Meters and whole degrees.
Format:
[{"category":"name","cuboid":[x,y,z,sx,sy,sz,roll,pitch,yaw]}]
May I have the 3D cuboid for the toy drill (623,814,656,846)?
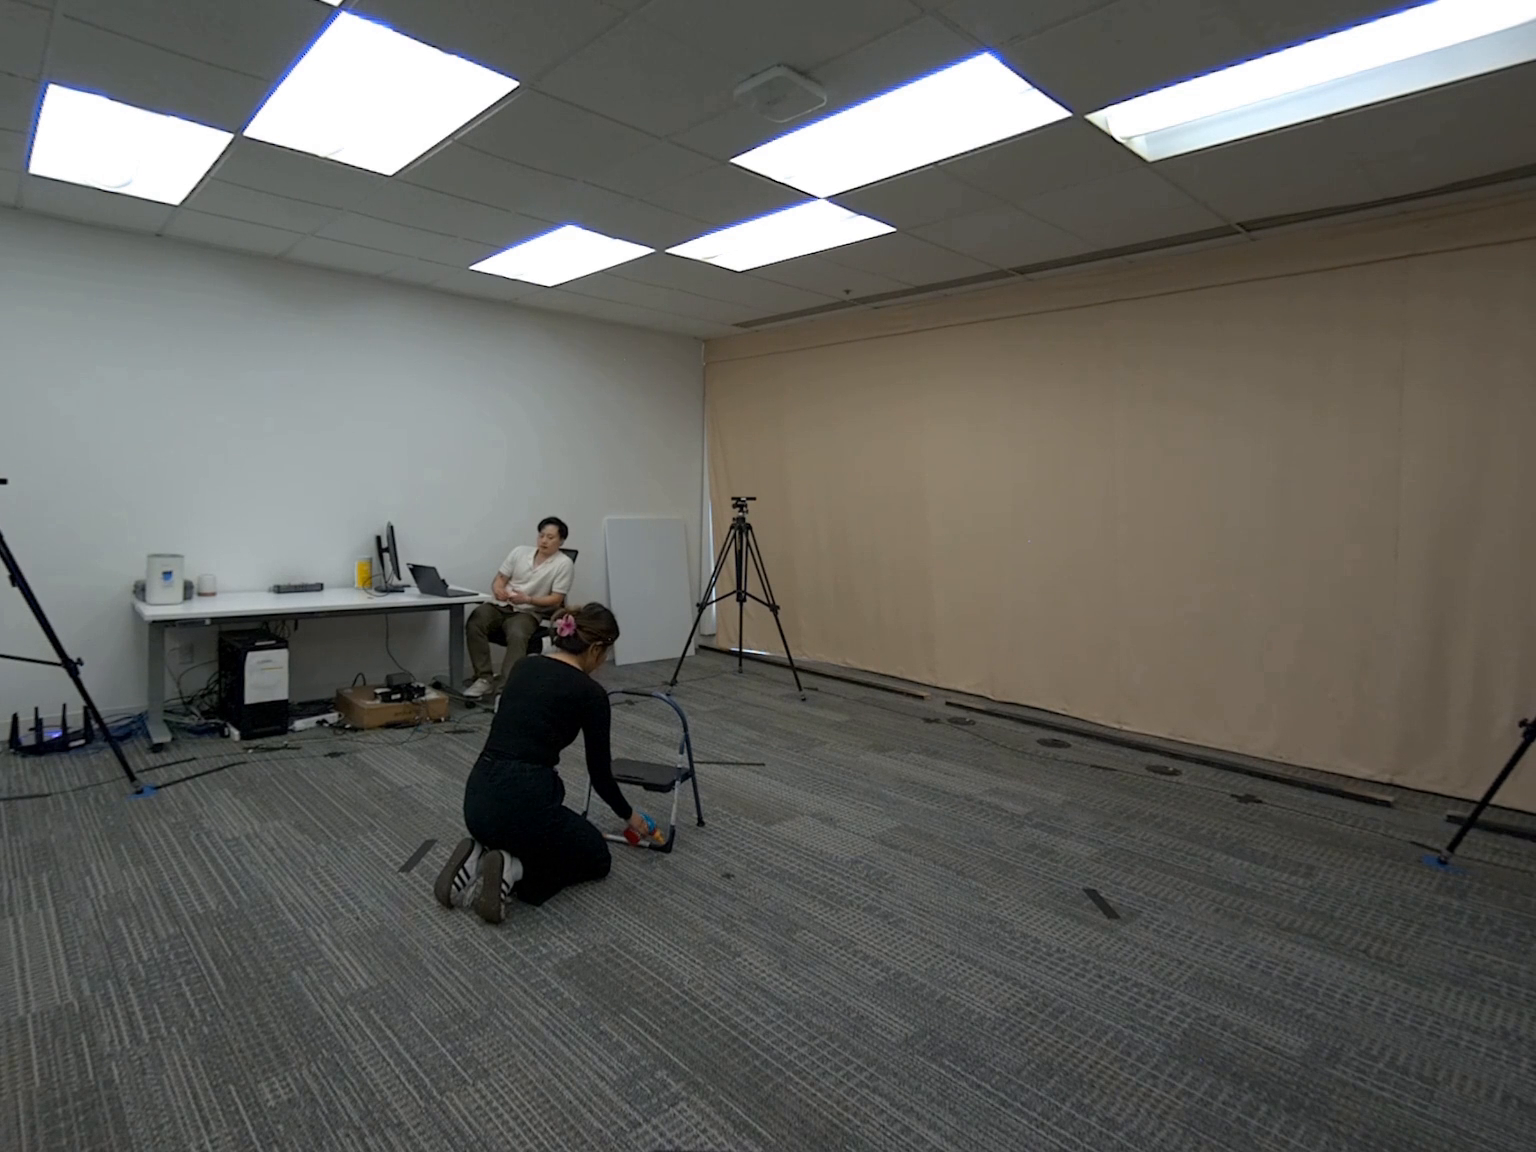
[{"category":"toy drill","cuboid":[-0.493,1.015,3.276,0.062,0.169,0.145,-20,2,23]}]
